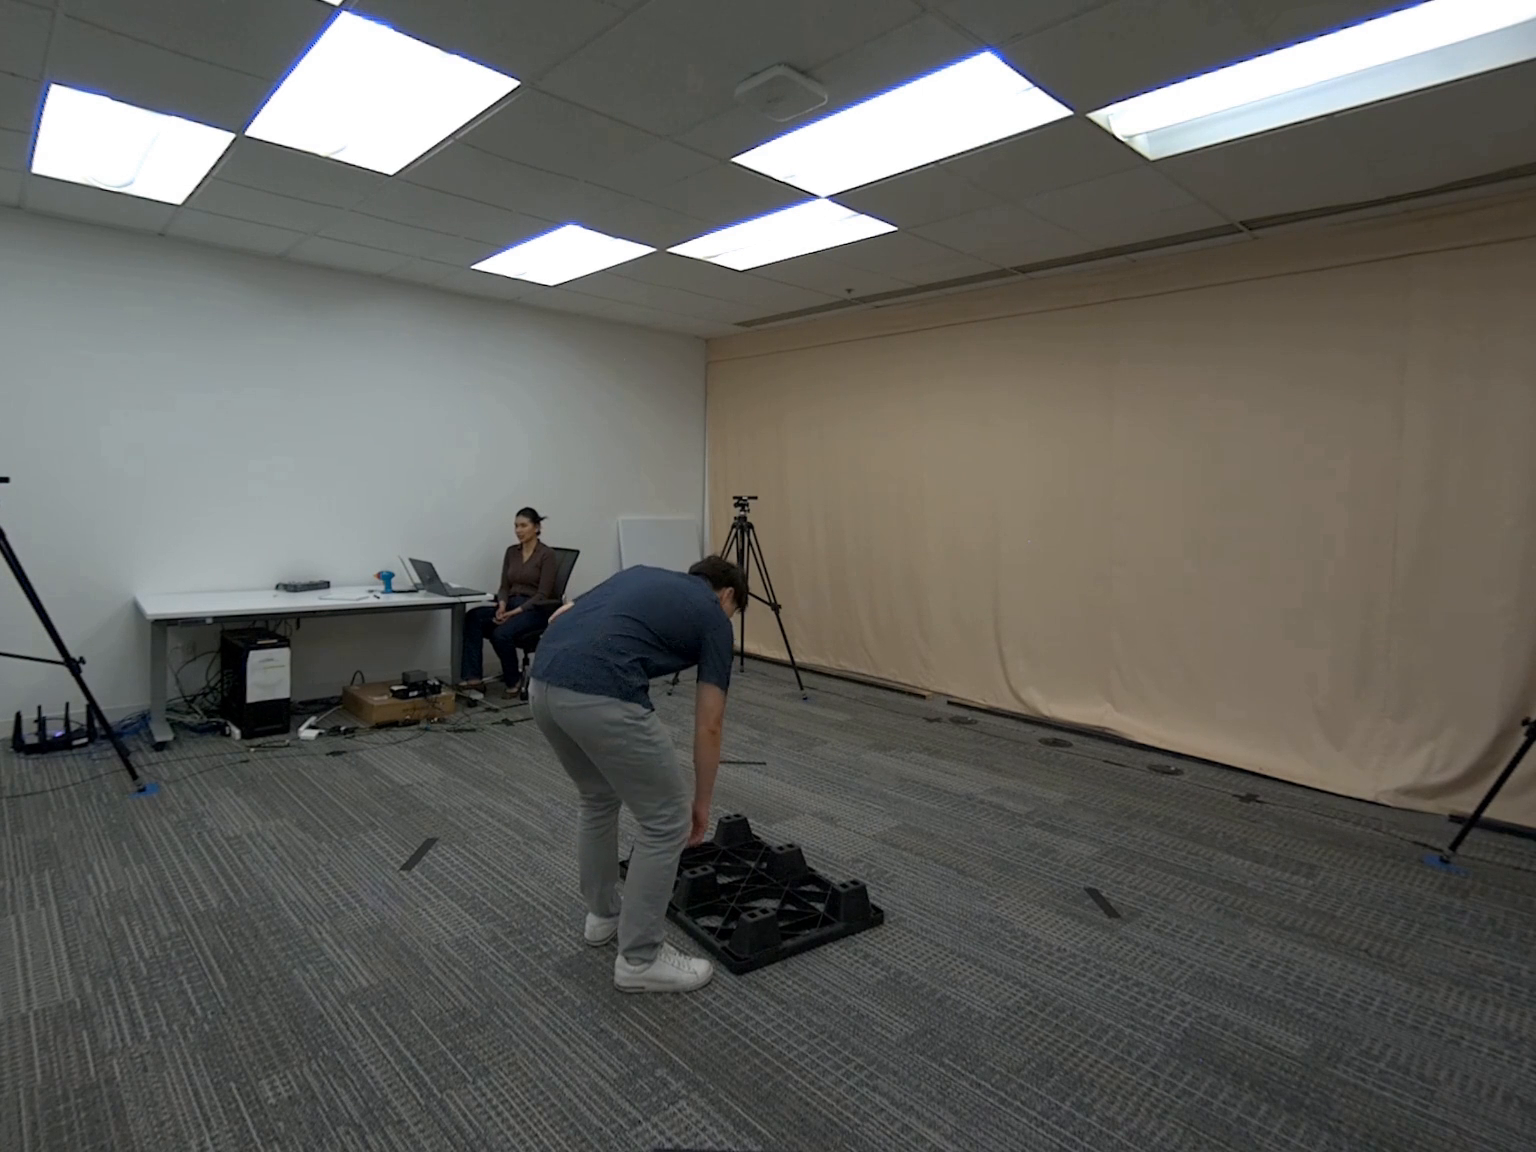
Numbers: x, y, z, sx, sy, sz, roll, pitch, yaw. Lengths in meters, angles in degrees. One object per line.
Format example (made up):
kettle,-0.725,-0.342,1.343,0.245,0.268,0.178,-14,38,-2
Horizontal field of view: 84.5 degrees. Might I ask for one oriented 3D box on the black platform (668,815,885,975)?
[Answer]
black platform,-0.096,1.054,2.933,0.592,0.143,0.825,-2,6,-36
